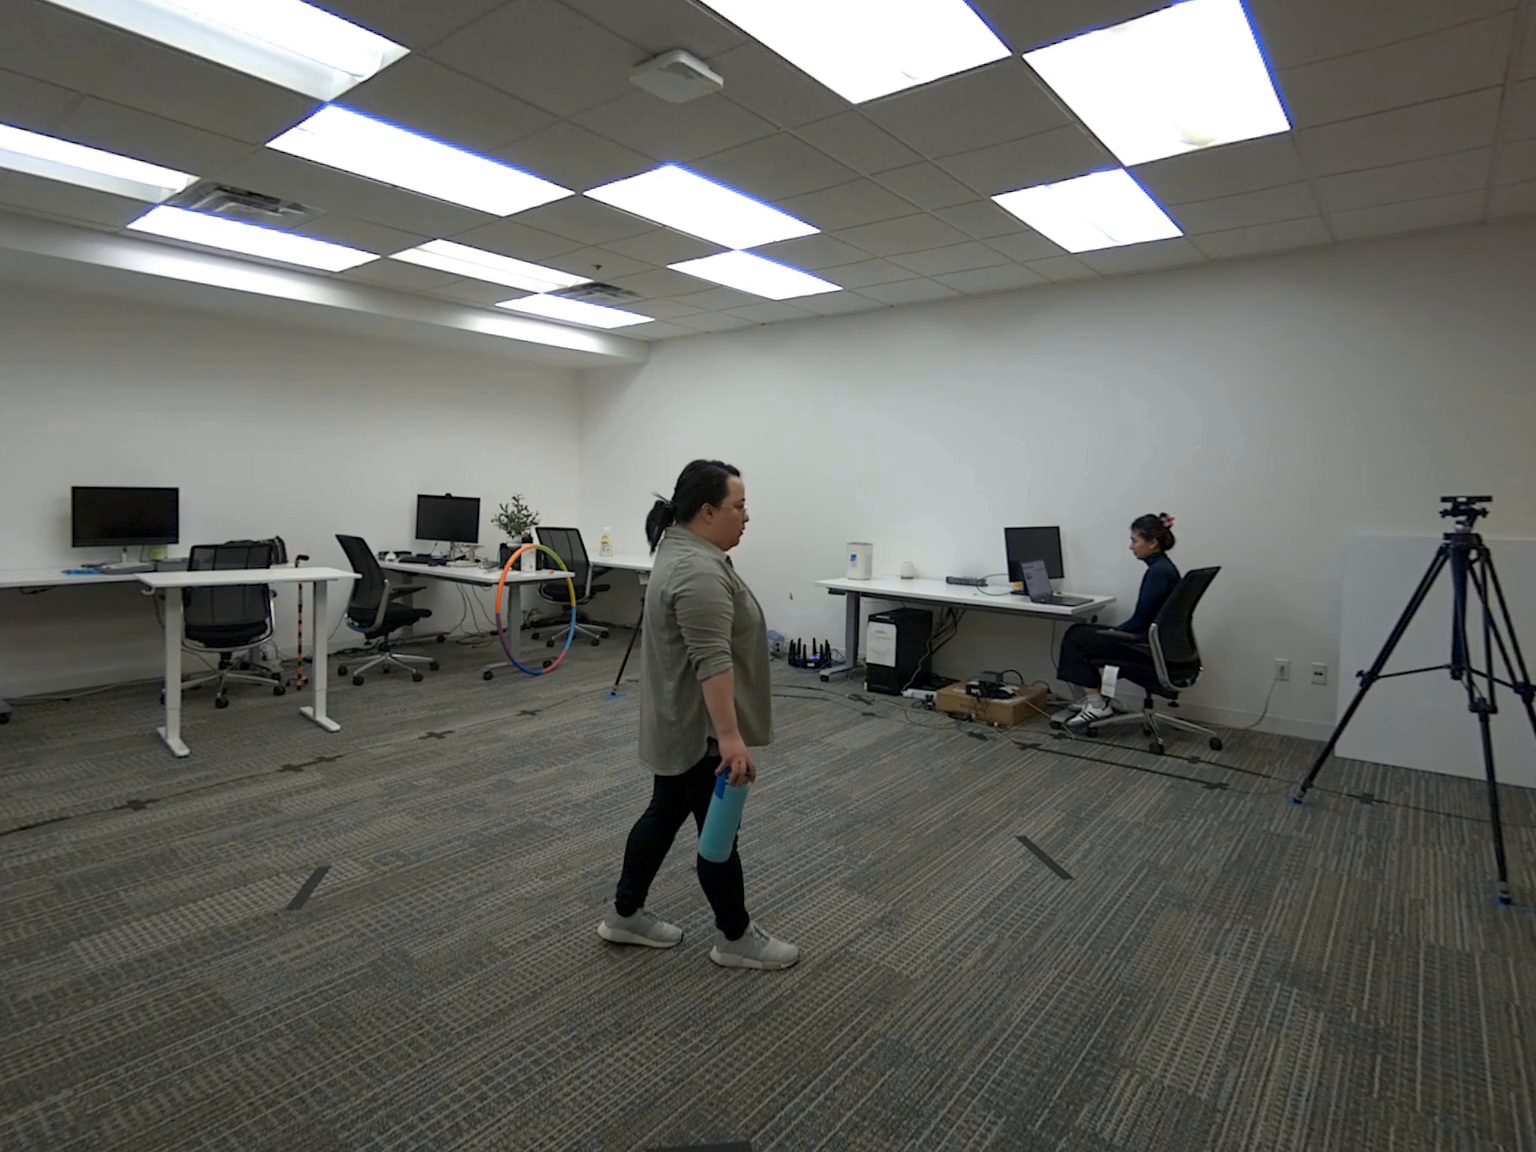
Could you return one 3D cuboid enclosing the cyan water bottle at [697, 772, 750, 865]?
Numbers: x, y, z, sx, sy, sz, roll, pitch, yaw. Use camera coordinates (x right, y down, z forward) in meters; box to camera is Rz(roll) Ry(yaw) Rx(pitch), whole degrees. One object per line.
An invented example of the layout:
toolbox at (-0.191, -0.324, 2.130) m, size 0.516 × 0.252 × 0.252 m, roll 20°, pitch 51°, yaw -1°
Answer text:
cyan water bottle at (-0.109, 0.611, 2.266) m, size 0.092 × 0.281 × 0.093 m, roll 13°, pitch 11°, yaw -5°
